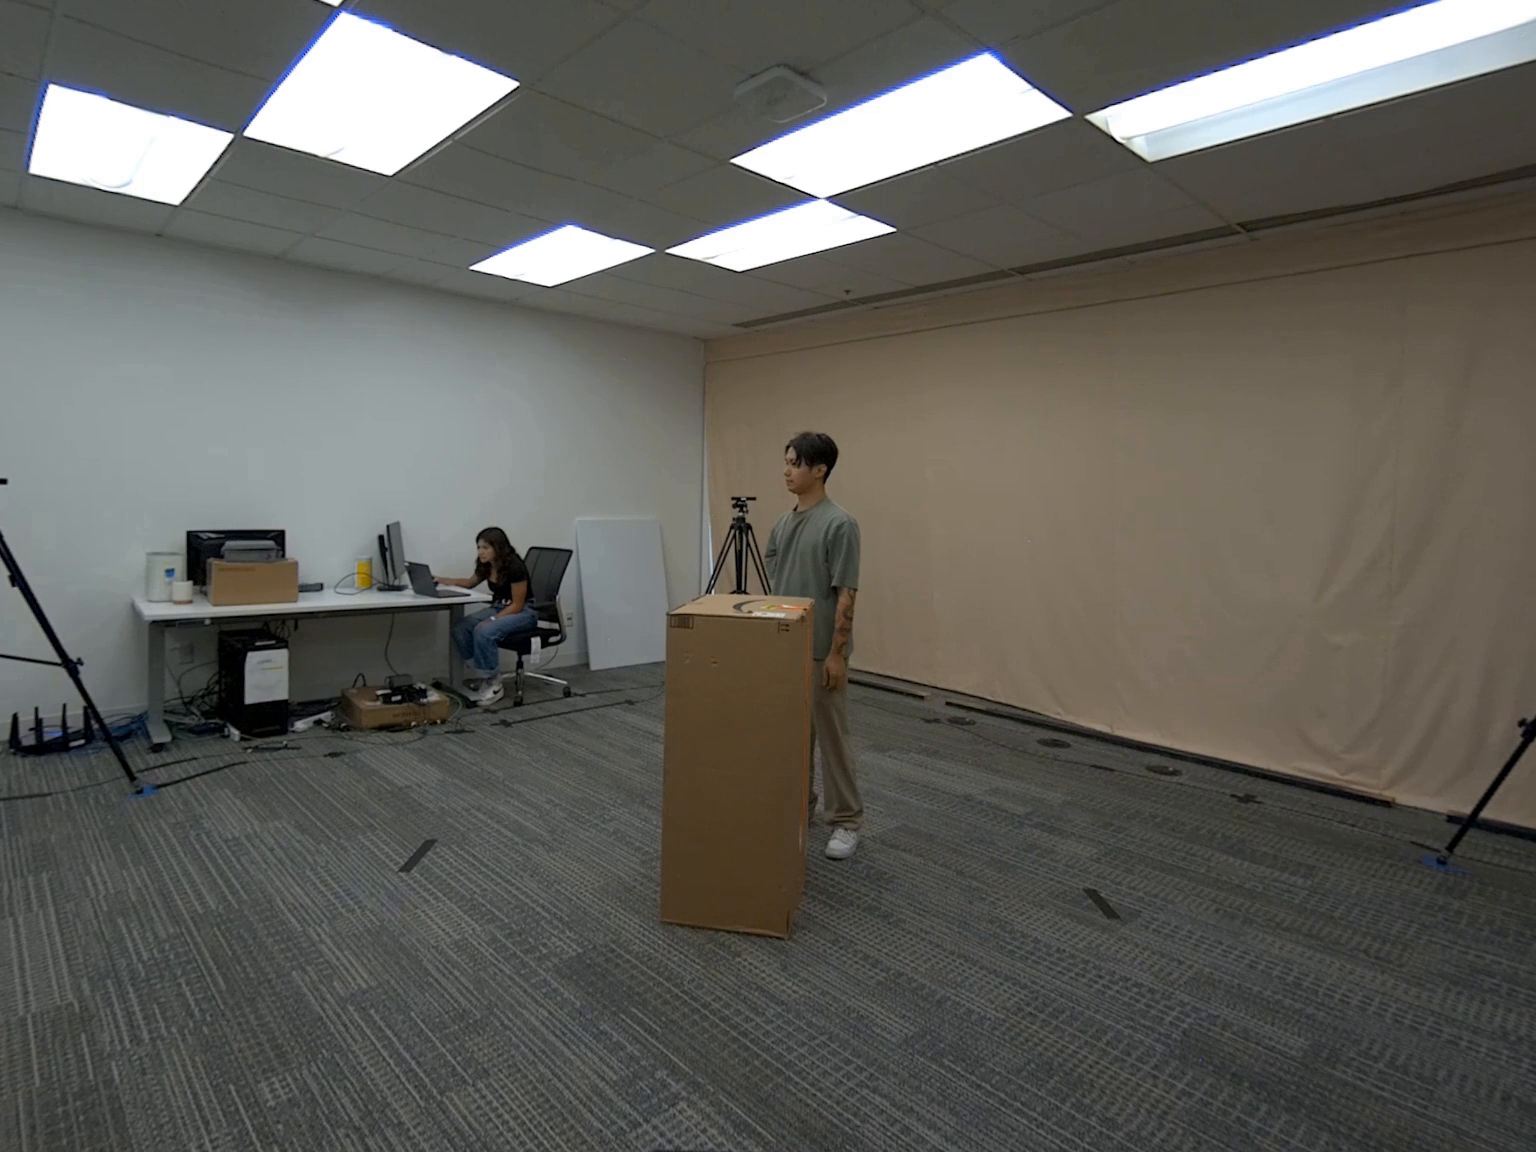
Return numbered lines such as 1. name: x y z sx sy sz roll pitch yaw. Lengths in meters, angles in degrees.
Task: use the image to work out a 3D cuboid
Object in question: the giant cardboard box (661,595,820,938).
1. giant cardboard box: -0.092 0.613 2.954 0.430 1.023 0.574 2 3 9
